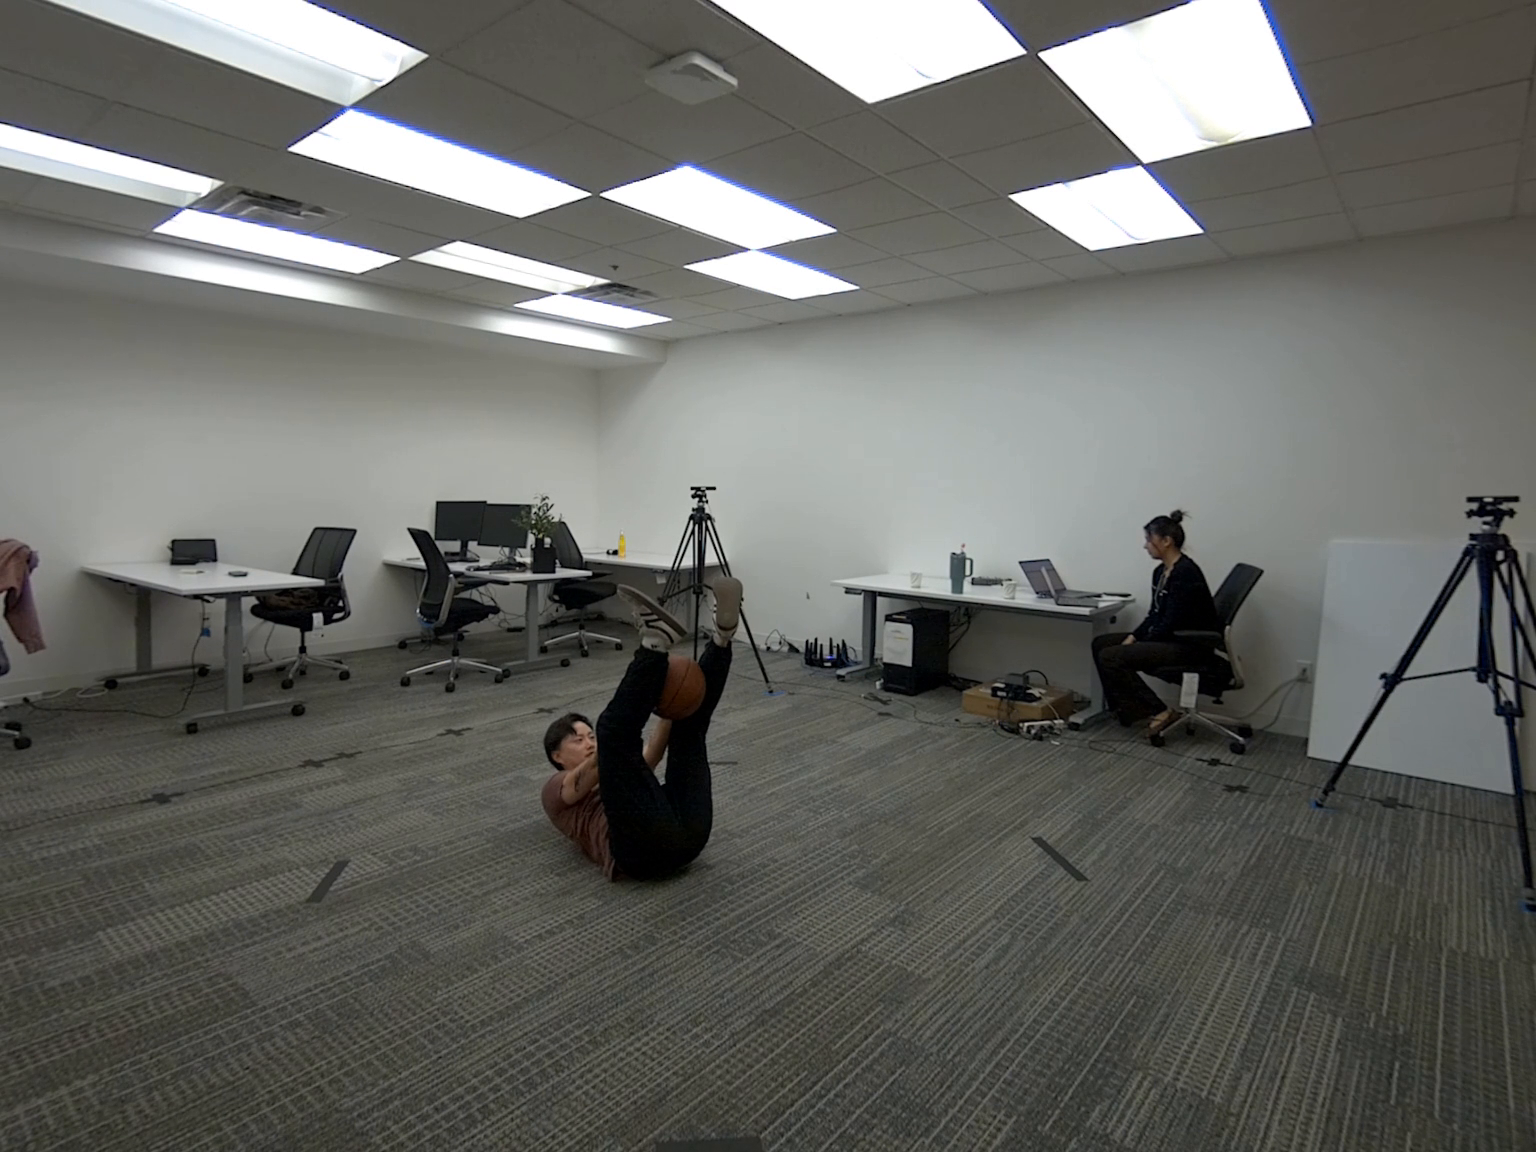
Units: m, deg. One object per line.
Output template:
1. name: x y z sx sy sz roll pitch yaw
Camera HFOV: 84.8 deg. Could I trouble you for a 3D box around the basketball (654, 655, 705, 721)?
1. basketball: -0.345 0.395 3.033 0.235 0.235 0.237 1 5 -2
